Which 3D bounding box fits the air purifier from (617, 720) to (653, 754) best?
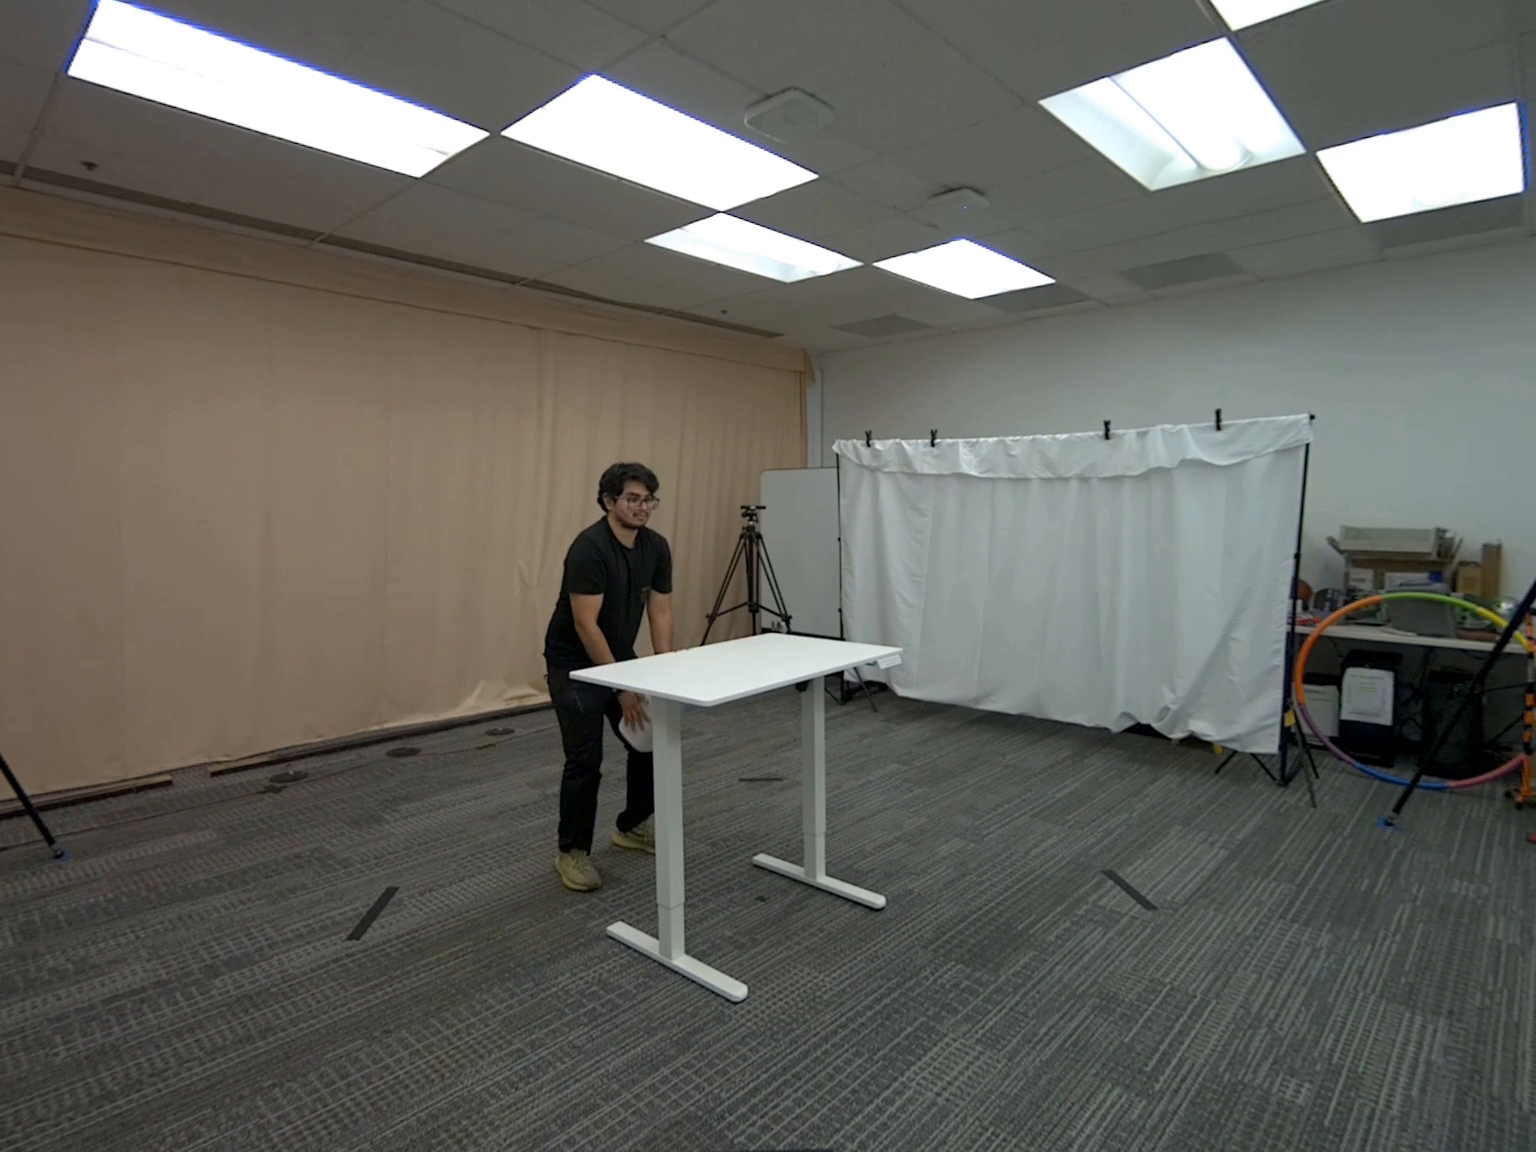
[{"bbox_3d":[-0.418,0.518,3.068,0.177,0.264,0.166,31,20,33],"label":"air purifier"}]
